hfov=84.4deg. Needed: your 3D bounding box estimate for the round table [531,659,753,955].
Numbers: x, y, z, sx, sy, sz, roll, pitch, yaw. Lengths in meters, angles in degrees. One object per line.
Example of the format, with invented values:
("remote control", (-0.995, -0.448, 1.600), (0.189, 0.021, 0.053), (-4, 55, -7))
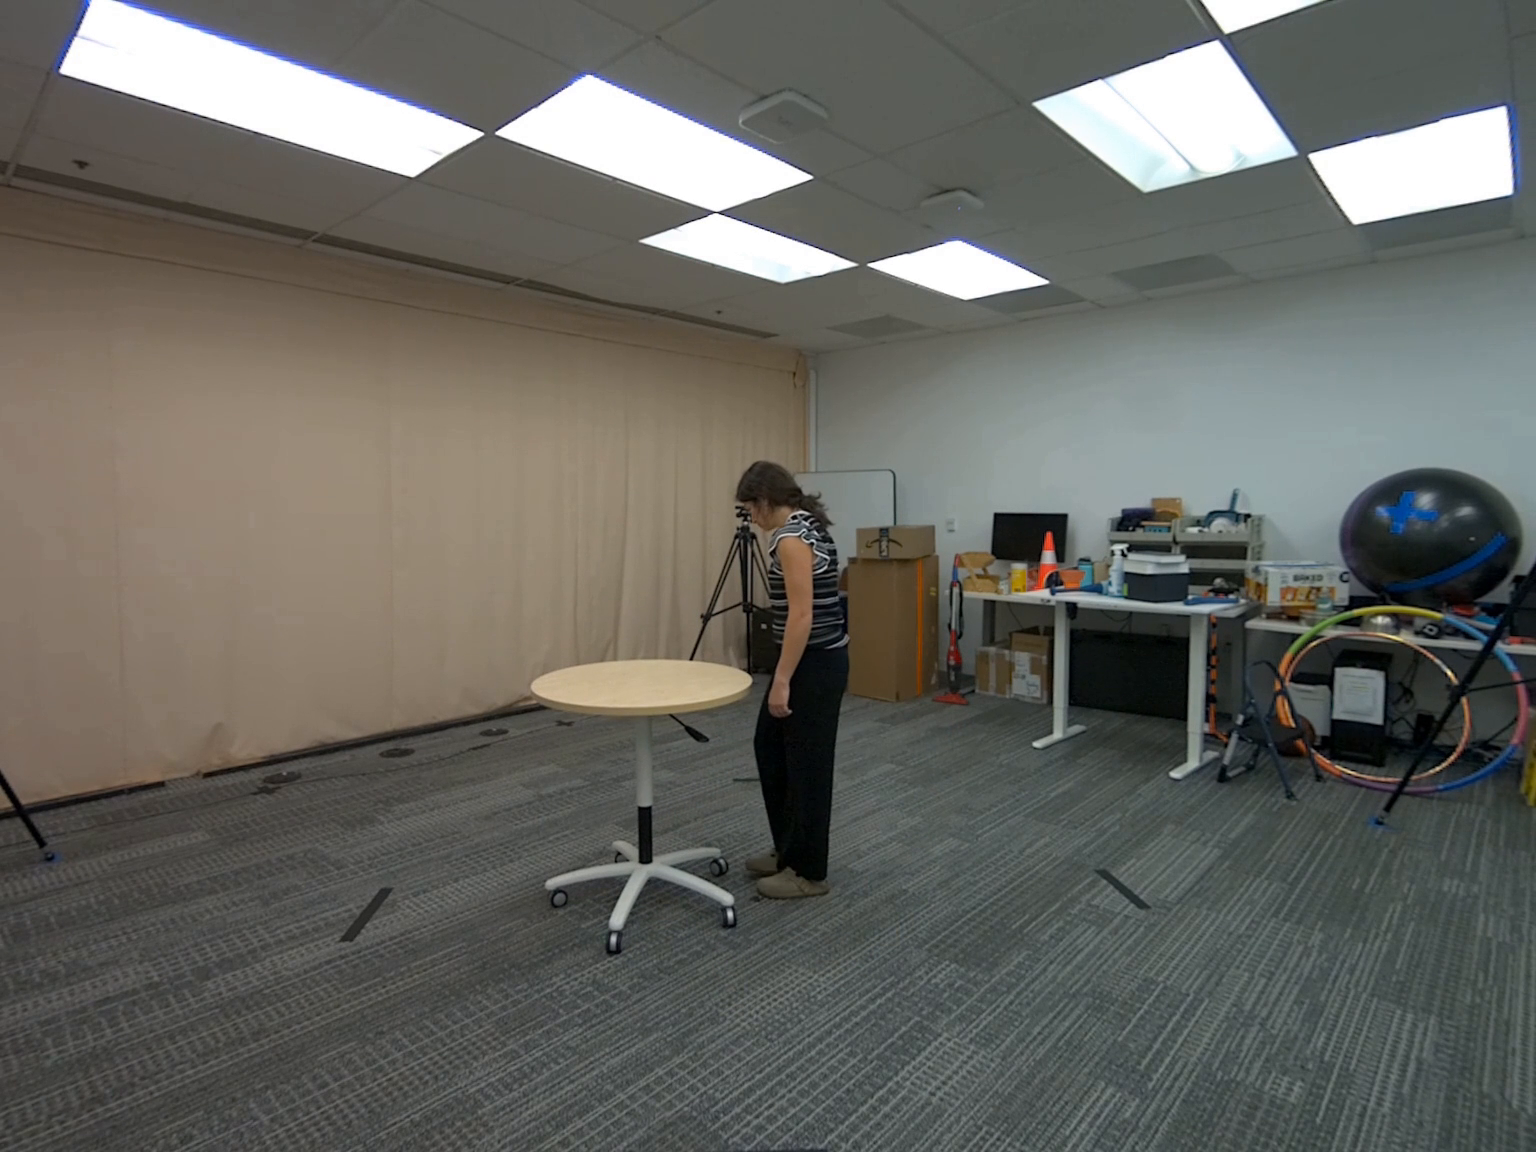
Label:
("round table", (-0.433, 0.757, 2.974), (0.784, 0.784, 0.788), (0, 4, -2))
